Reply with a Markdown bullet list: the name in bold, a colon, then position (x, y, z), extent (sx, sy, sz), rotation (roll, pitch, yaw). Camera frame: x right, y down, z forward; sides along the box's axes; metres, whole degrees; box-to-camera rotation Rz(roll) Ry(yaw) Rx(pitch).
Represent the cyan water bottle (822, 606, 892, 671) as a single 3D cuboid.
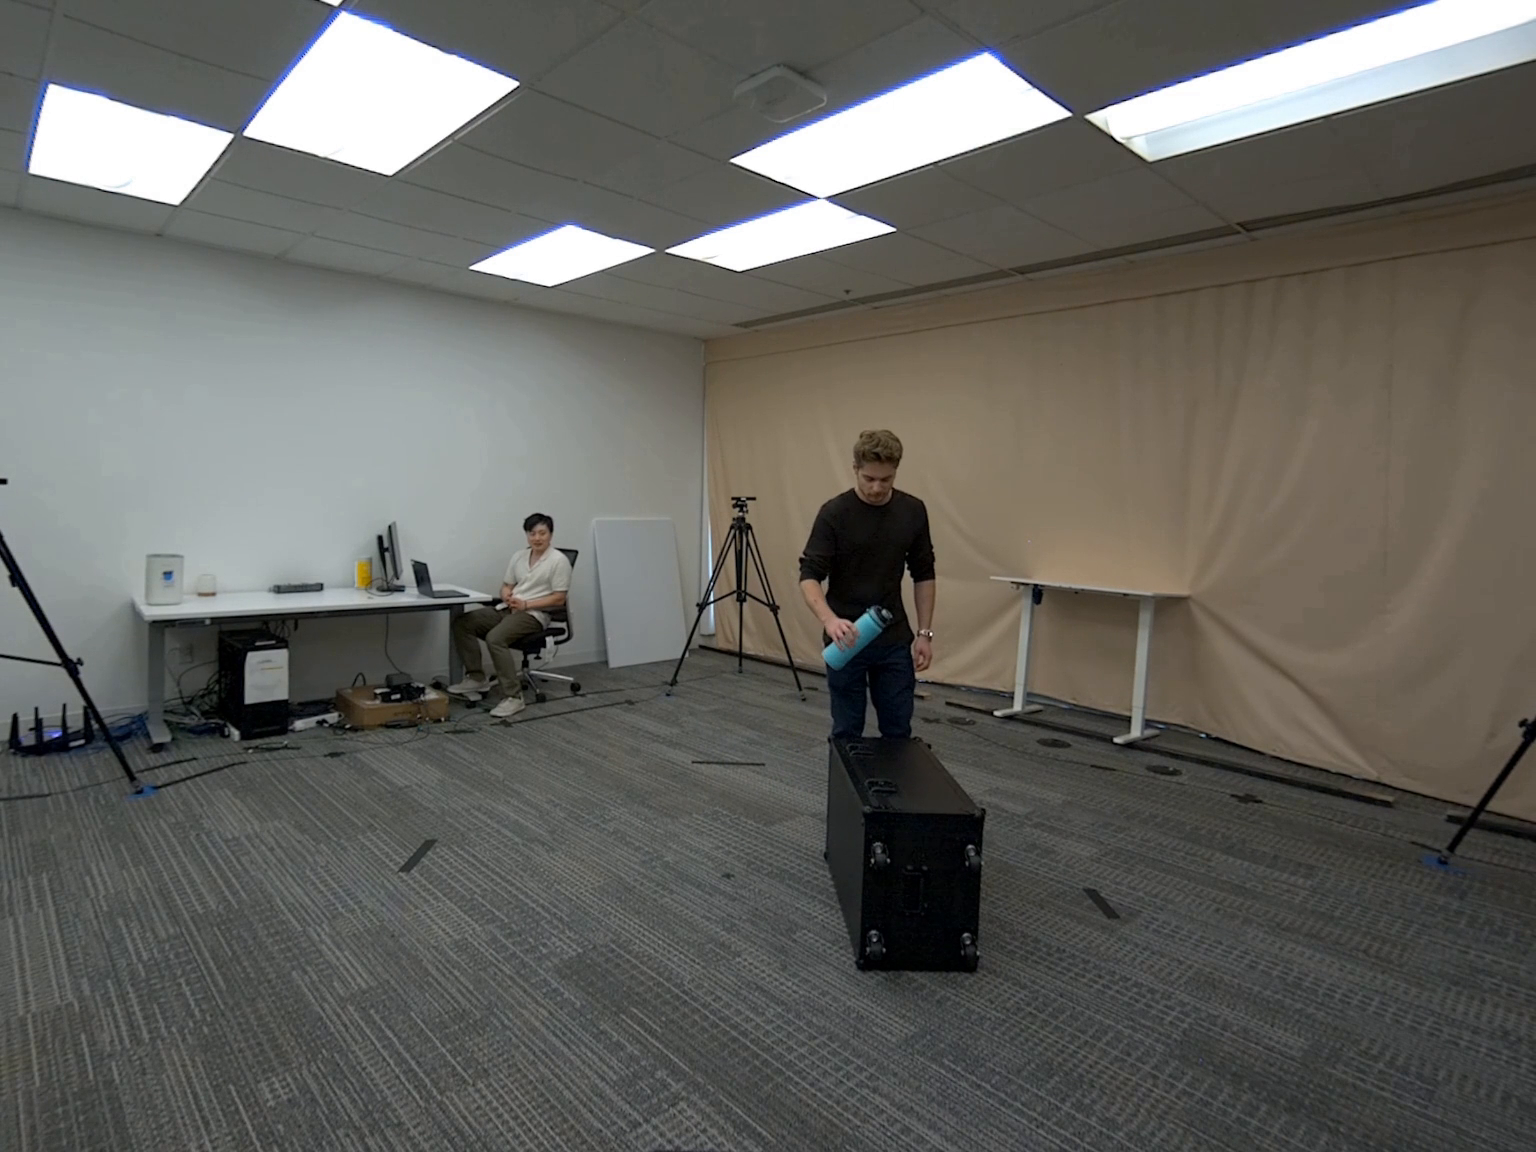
- **cyan water bottle**: position (0.318, 0.221, 3.040), extent (0.091, 0.283, 0.093), rotation (40, 14, -14)
